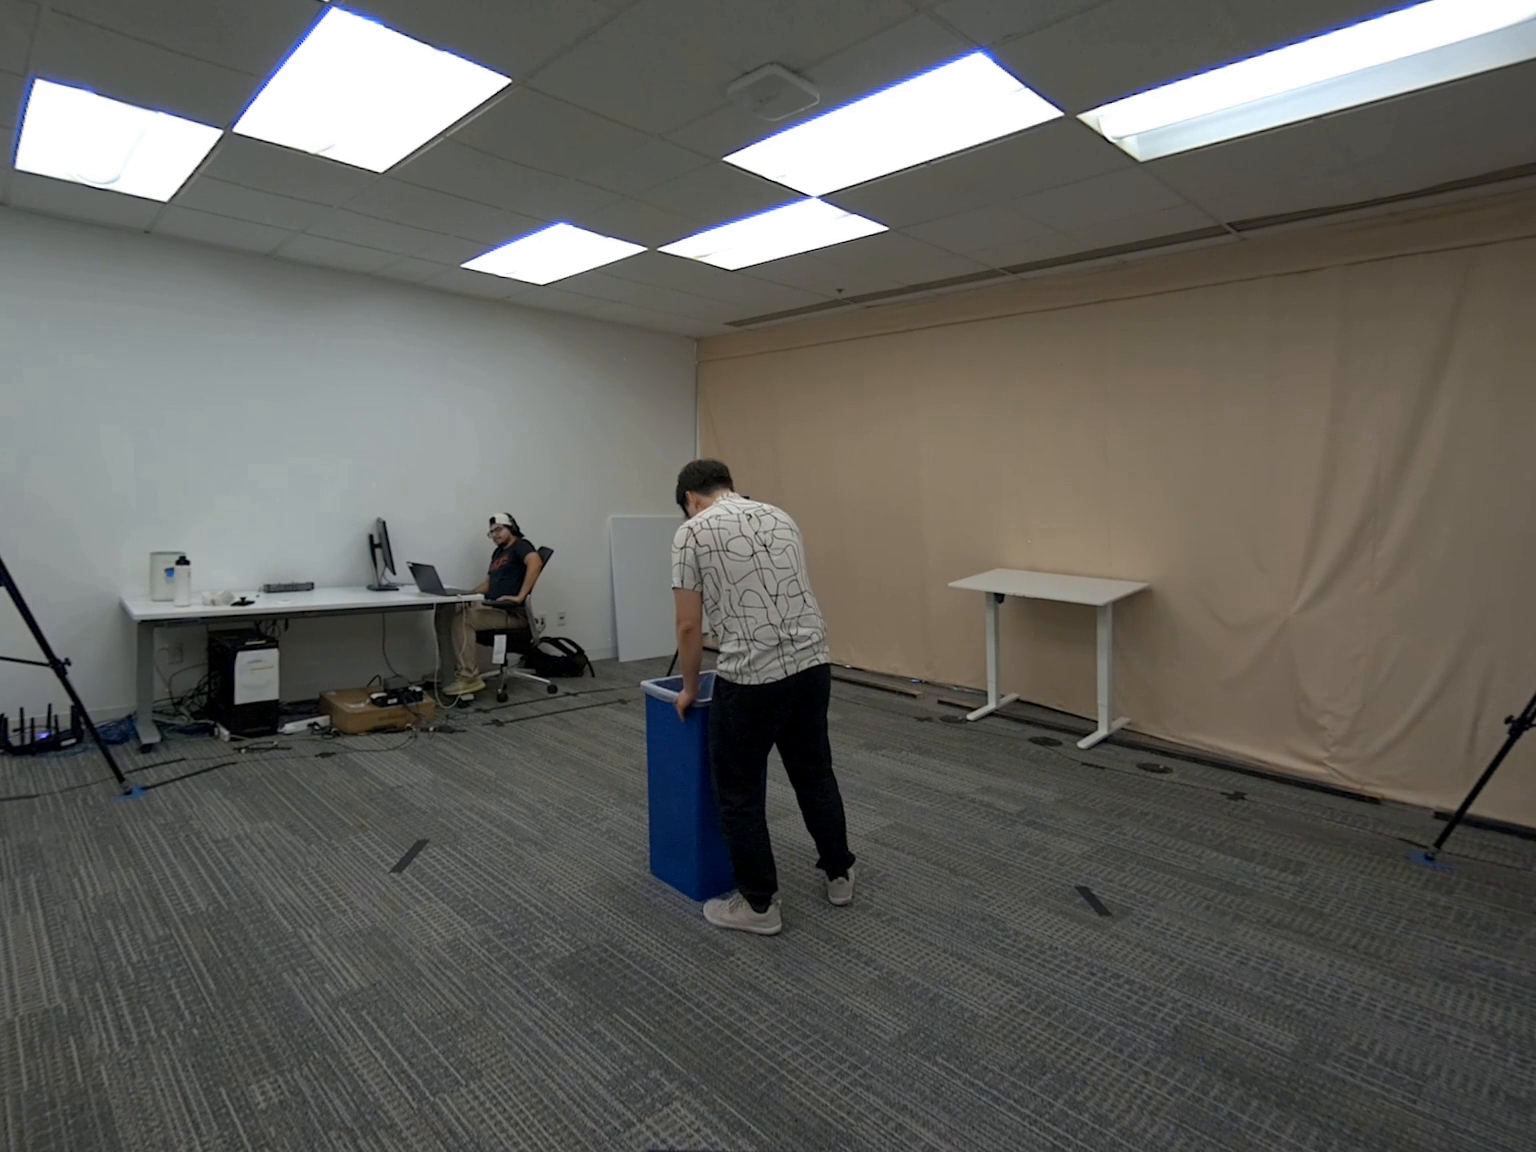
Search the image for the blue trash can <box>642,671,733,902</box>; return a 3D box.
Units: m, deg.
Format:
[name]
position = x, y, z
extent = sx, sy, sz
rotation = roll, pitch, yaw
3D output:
[blue trash can]
position = -0.240, 0.746, 3.080
extent = 0.369, 0.712, 0.383
rotation = -2, 5, -42
